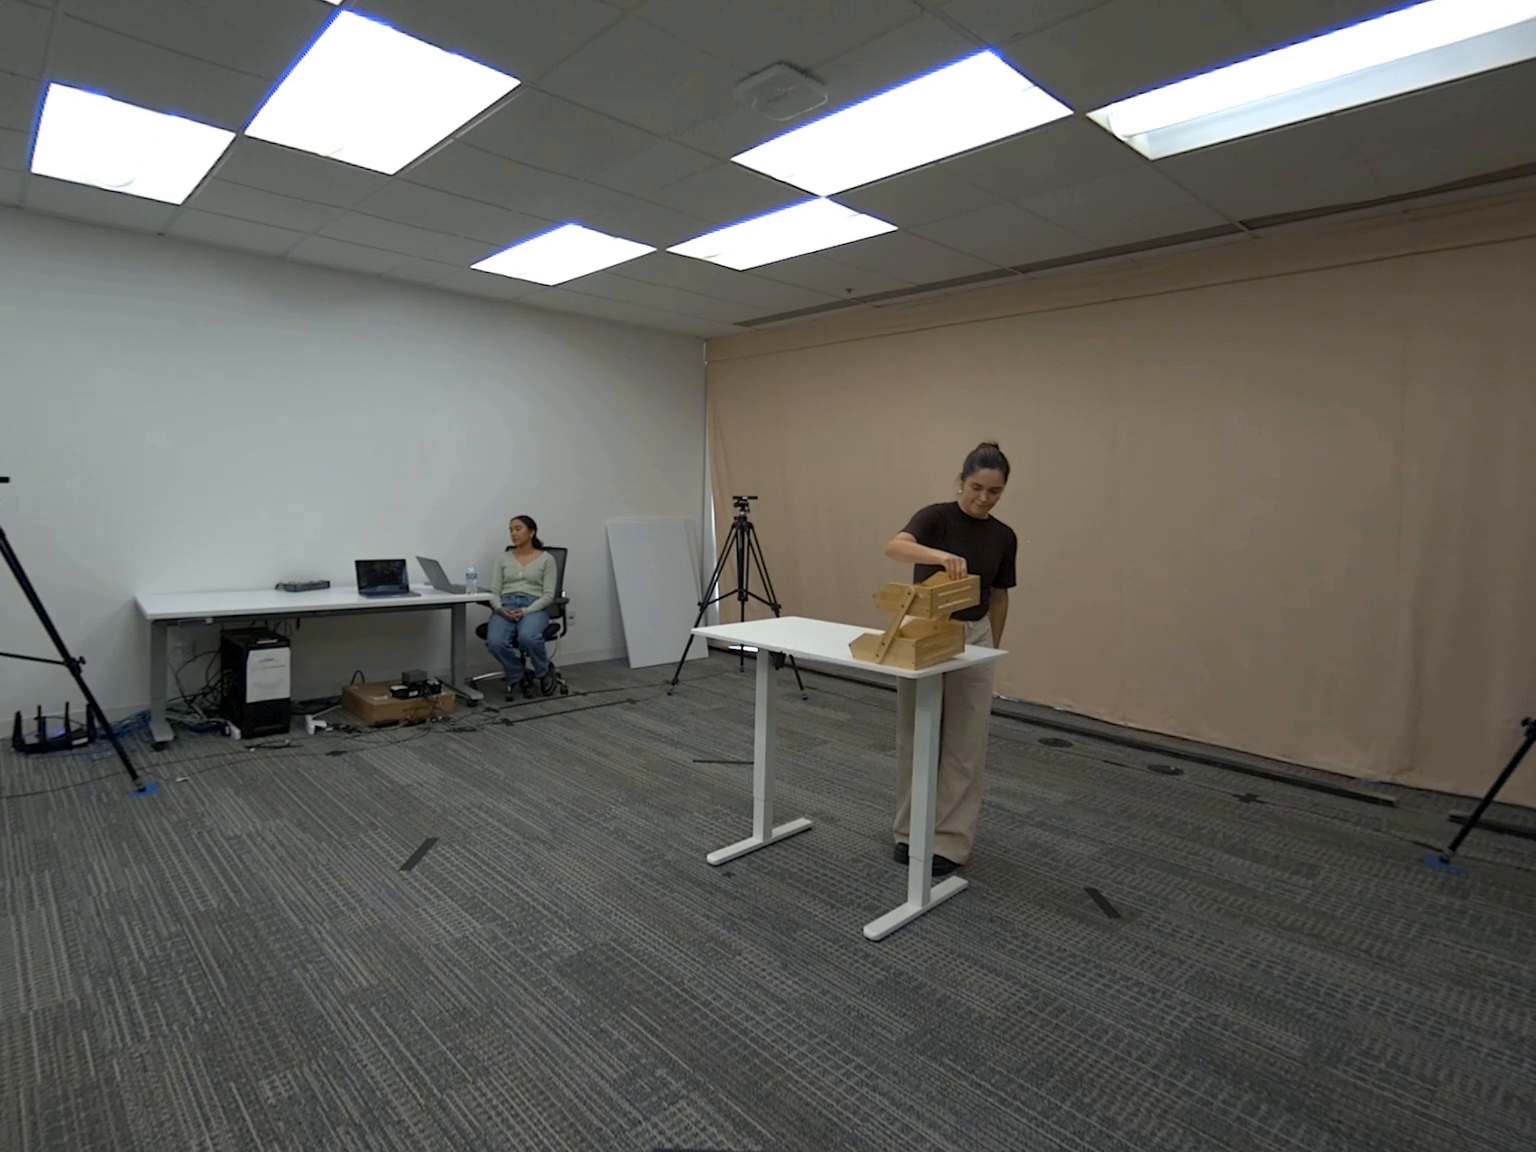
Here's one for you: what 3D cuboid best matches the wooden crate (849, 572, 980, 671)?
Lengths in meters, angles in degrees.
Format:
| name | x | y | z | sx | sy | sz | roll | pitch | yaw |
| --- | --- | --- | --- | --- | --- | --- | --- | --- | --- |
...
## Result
| name | x | y | z | sx | sy | sz | roll | pitch | yaw |
| --- | --- | --- | --- | --- | --- | --- | --- | --- | --- |
| wooden crate | 0.465 | 0.130 | 2.713 | 0.310 | 0.272 | 0.318 | 7 | 11 | 43 |
